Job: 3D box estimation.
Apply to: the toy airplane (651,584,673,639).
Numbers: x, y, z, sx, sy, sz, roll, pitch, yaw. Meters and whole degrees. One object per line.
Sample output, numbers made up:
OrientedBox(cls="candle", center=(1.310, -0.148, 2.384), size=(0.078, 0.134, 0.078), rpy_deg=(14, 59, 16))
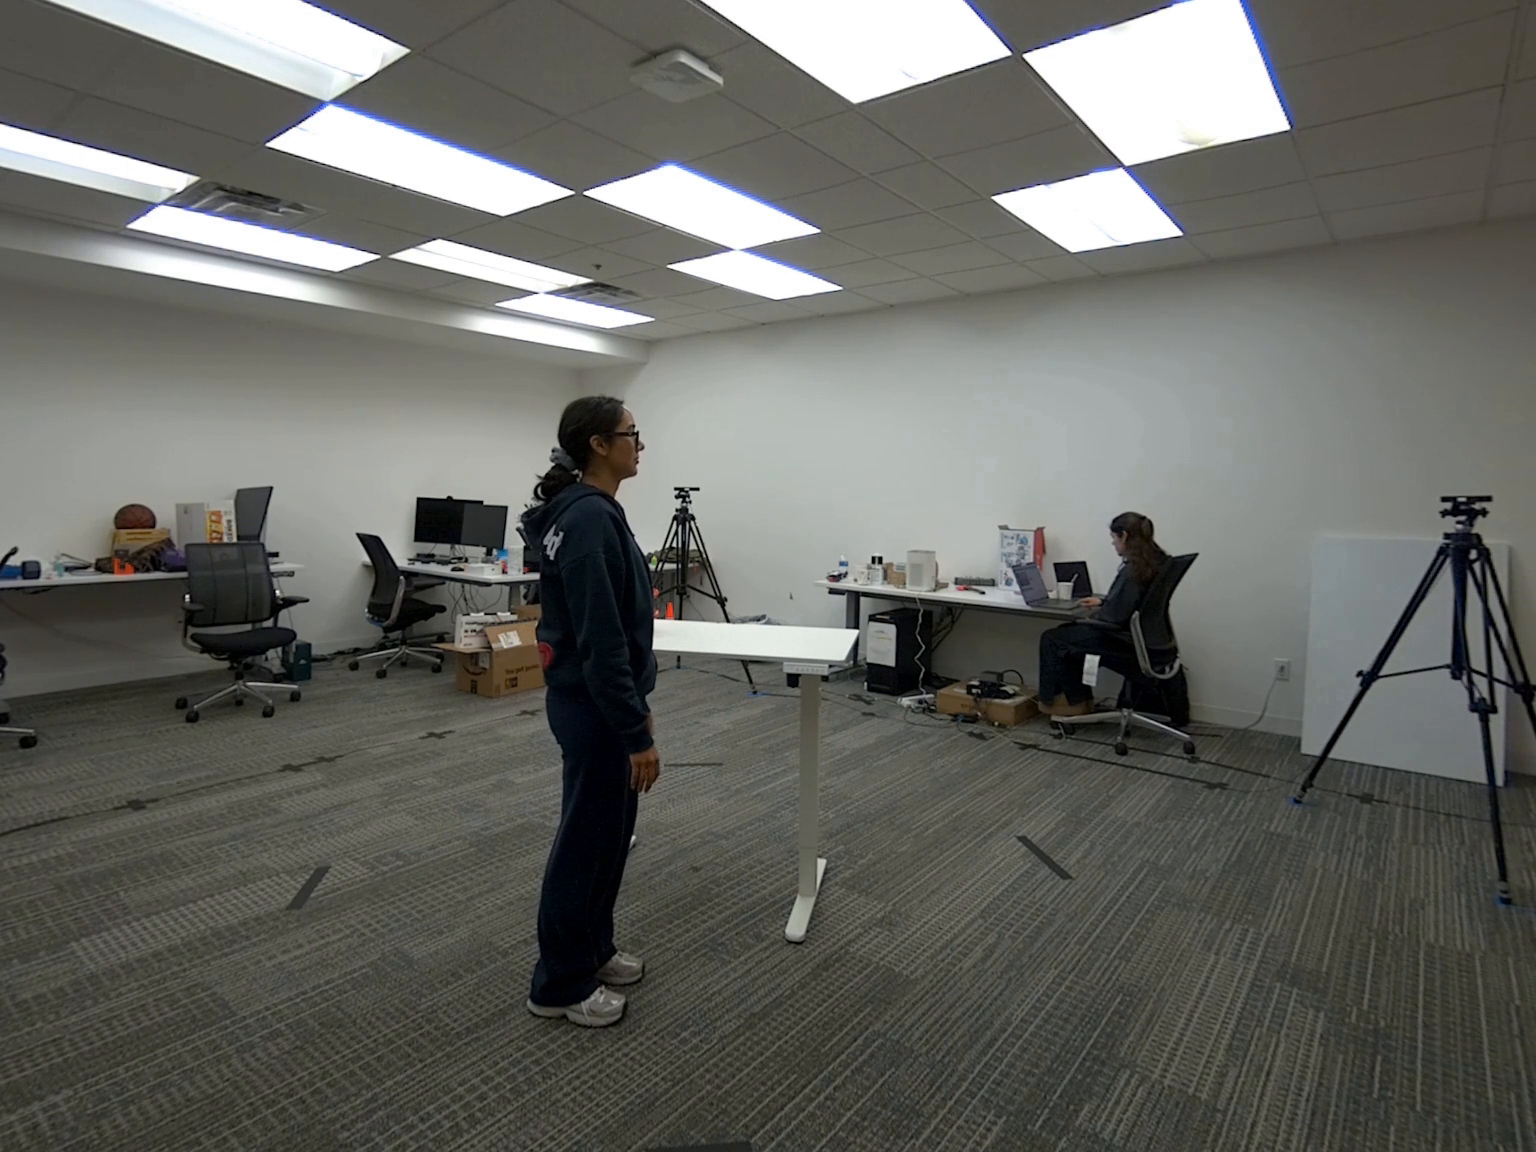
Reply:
OrientedBox(cls="toy airplane", center=(-0.500, 0.121, 2.972), size=(0.246, 0.156, 0.266), rpy_deg=(-1, 5, -23))
